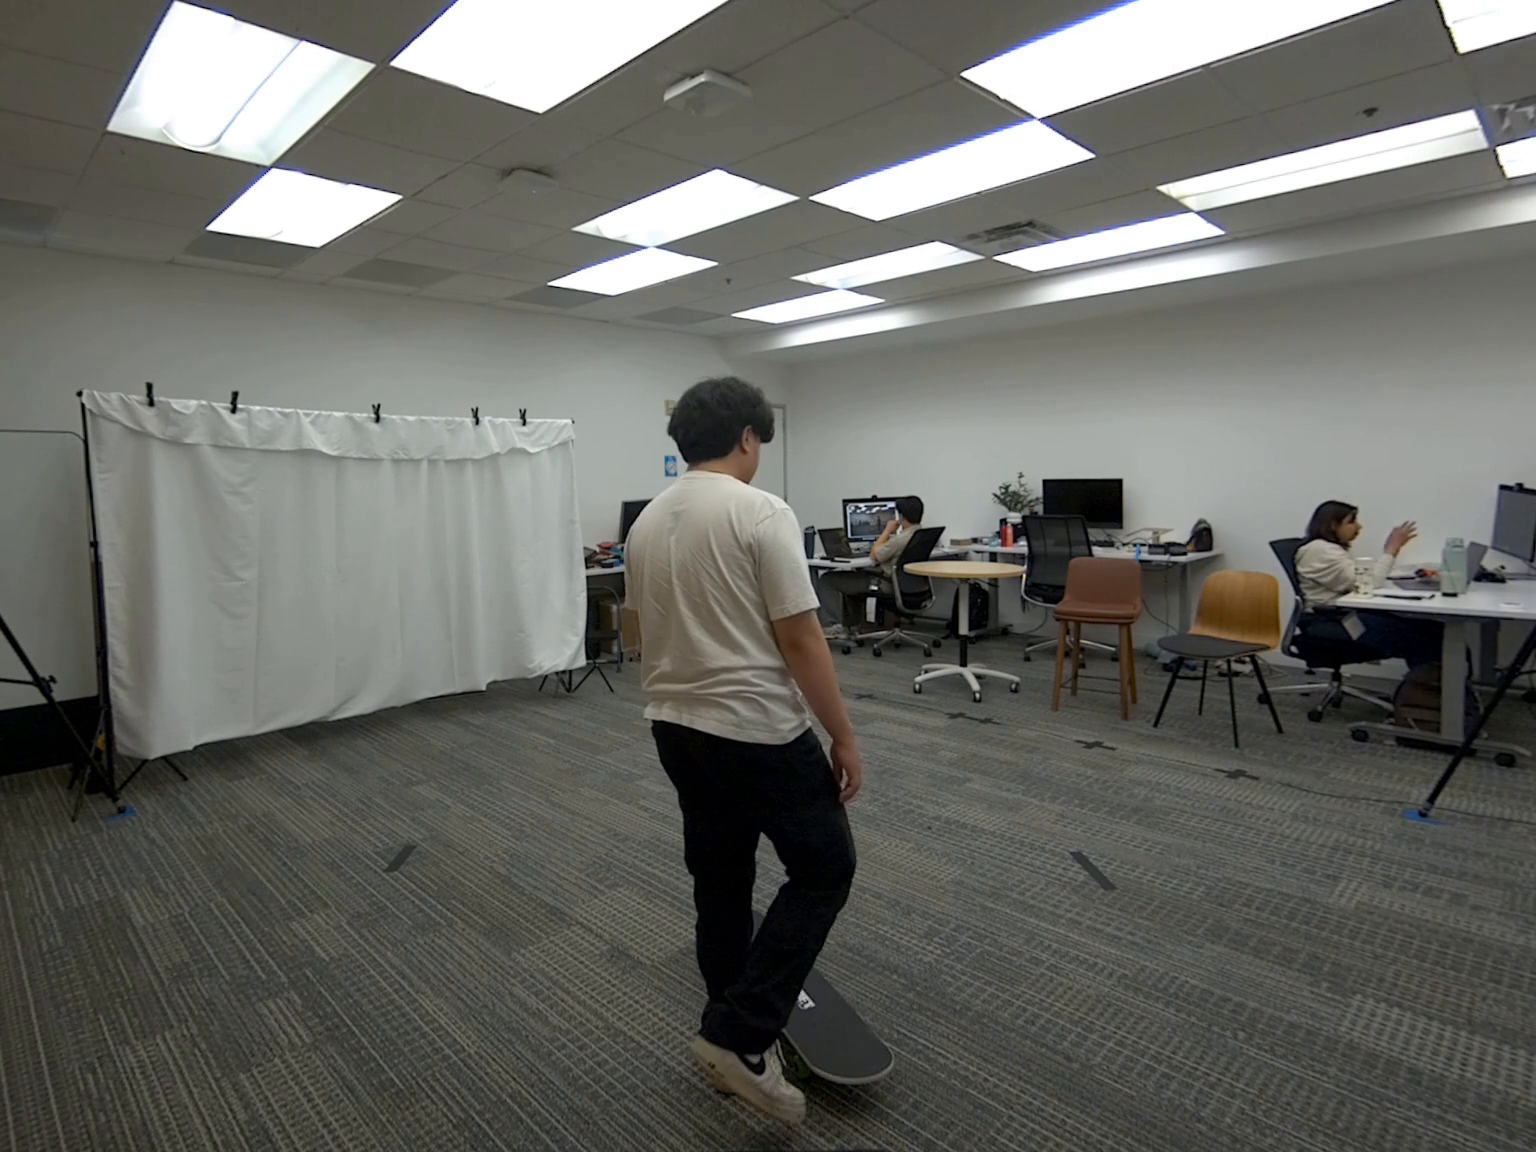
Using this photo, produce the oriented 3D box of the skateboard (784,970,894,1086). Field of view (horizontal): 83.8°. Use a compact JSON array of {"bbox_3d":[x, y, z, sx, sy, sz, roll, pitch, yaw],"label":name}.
[{"bbox_3d":[0.066,1.087,2.215,0.189,0.110,0.805,-4,7,-24],"label":"skateboard"}]
